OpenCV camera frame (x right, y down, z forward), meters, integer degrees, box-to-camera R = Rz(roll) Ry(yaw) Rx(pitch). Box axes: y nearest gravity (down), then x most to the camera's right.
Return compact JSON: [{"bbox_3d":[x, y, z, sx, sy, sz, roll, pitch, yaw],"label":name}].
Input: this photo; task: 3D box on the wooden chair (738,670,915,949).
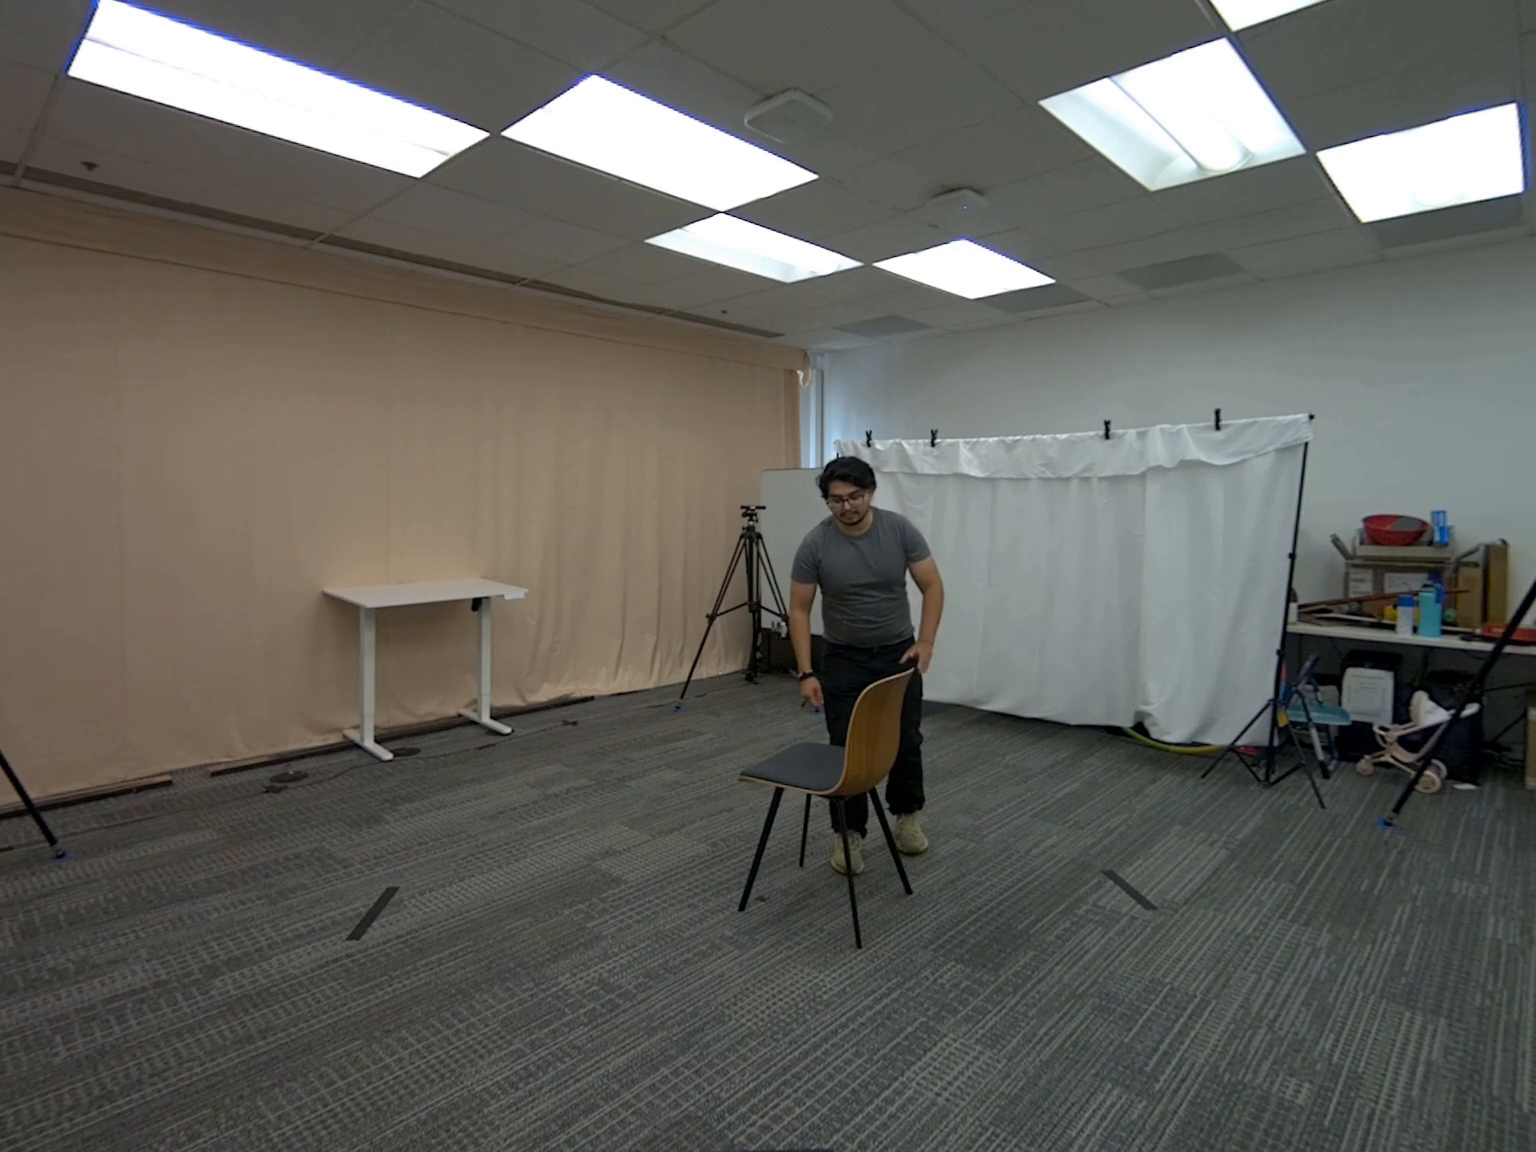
[{"bbox_3d":[0.195,0.717,2.927,0.539,0.874,0.465,7,7,31],"label":"wooden chair"}]
